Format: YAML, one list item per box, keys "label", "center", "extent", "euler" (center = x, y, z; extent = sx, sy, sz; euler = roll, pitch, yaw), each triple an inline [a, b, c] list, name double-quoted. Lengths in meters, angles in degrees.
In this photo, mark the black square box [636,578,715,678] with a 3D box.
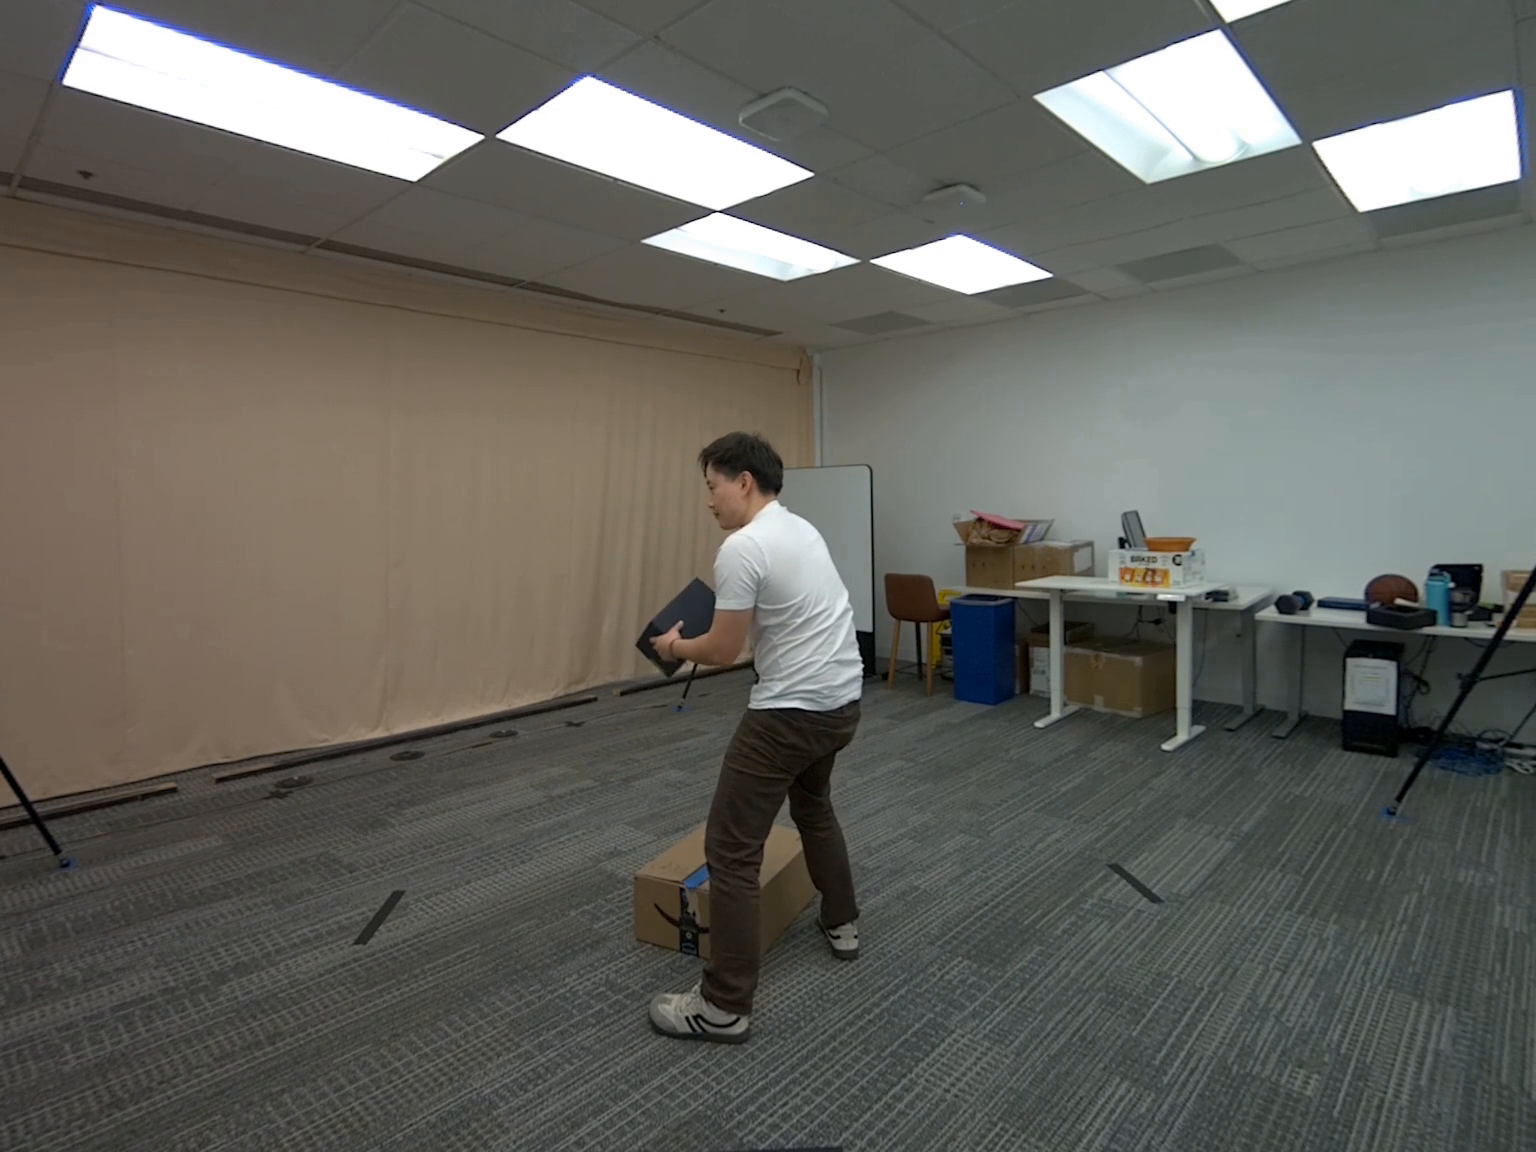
- label: "black square box"
  center: [-0.270, 0.166, 2.664]
  extent: [0.226, 0.157, 0.217]
  euler: [-46, -4, -32]
